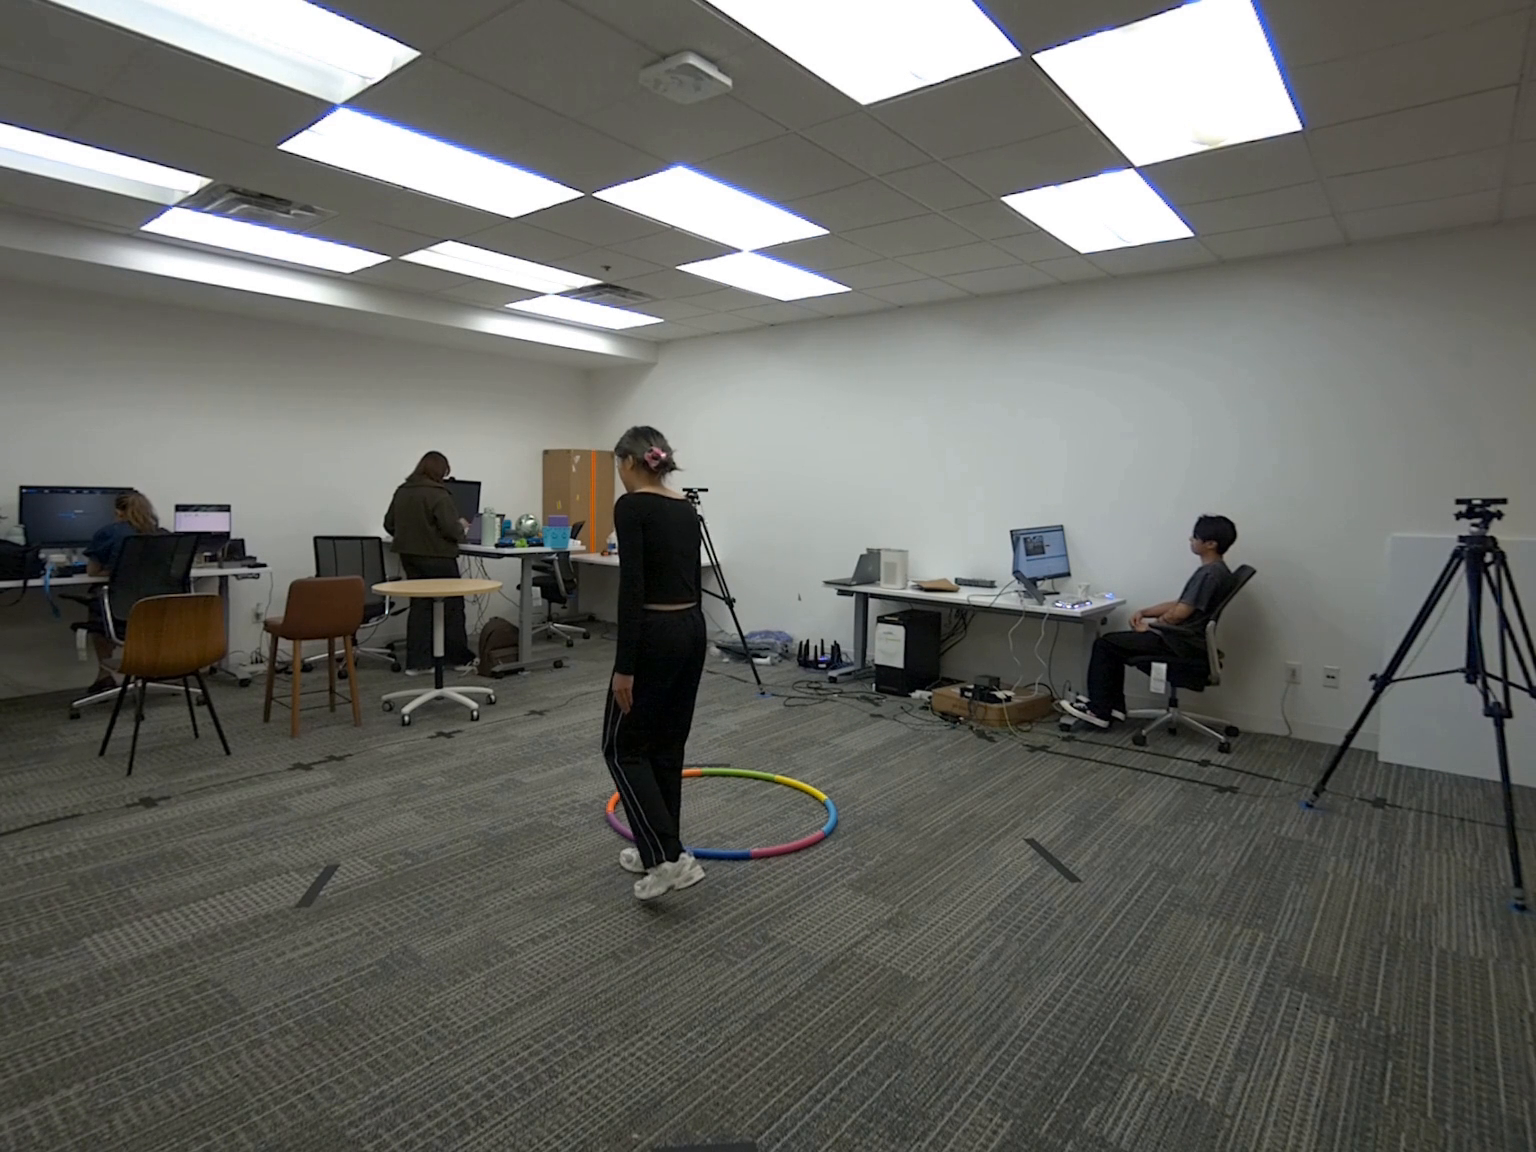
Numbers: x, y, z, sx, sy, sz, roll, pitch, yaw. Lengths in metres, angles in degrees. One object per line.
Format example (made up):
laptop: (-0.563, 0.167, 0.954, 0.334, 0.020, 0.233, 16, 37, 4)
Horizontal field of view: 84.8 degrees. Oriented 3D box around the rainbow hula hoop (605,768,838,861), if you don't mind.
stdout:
rainbow hula hoop: (-0.210, 0.986, 3.665, 0.978, 0.035, 0.984, 1, 6, -2)
